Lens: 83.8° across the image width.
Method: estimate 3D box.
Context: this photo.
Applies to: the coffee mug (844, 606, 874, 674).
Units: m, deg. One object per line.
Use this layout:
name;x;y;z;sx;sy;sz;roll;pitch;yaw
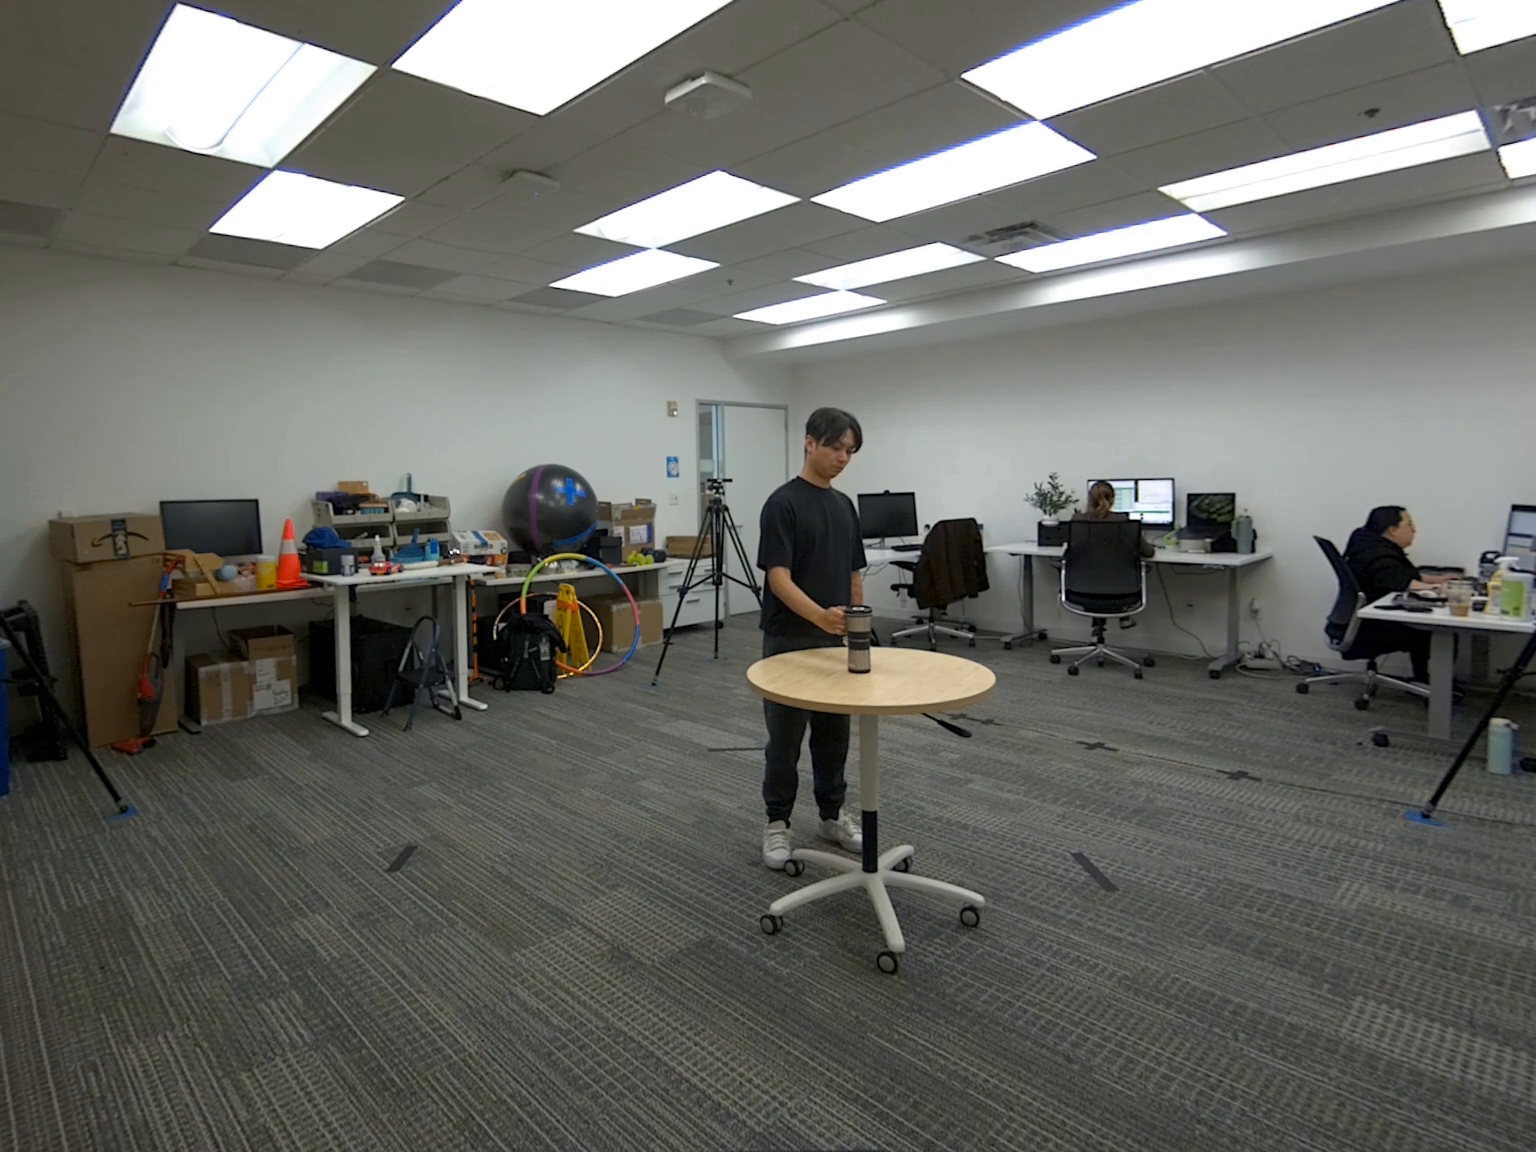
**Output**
coffee mug;0.297;0.203;2.714;0.090;0.203;0.119;-6;3;40
